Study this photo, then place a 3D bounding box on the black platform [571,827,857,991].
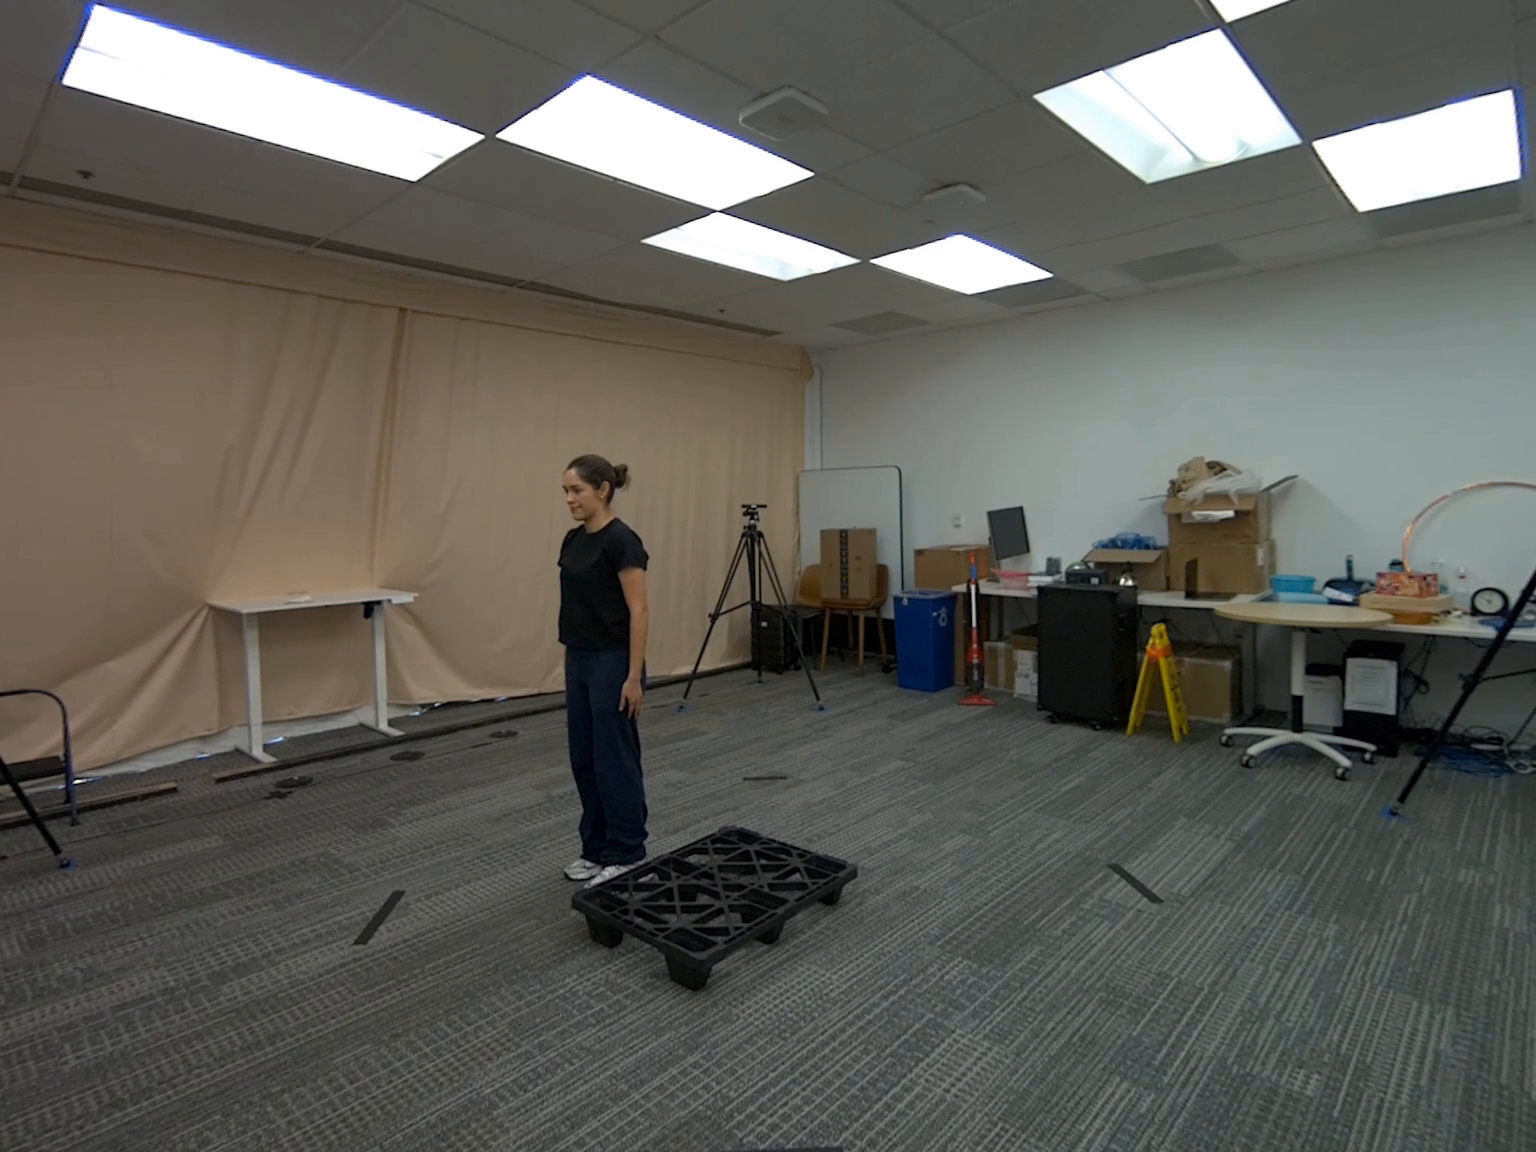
[{"bbox_3d":[-0.151,1.090,2.830,0.625,0.143,0.782,3,6,40],"label":"black platform"}]
